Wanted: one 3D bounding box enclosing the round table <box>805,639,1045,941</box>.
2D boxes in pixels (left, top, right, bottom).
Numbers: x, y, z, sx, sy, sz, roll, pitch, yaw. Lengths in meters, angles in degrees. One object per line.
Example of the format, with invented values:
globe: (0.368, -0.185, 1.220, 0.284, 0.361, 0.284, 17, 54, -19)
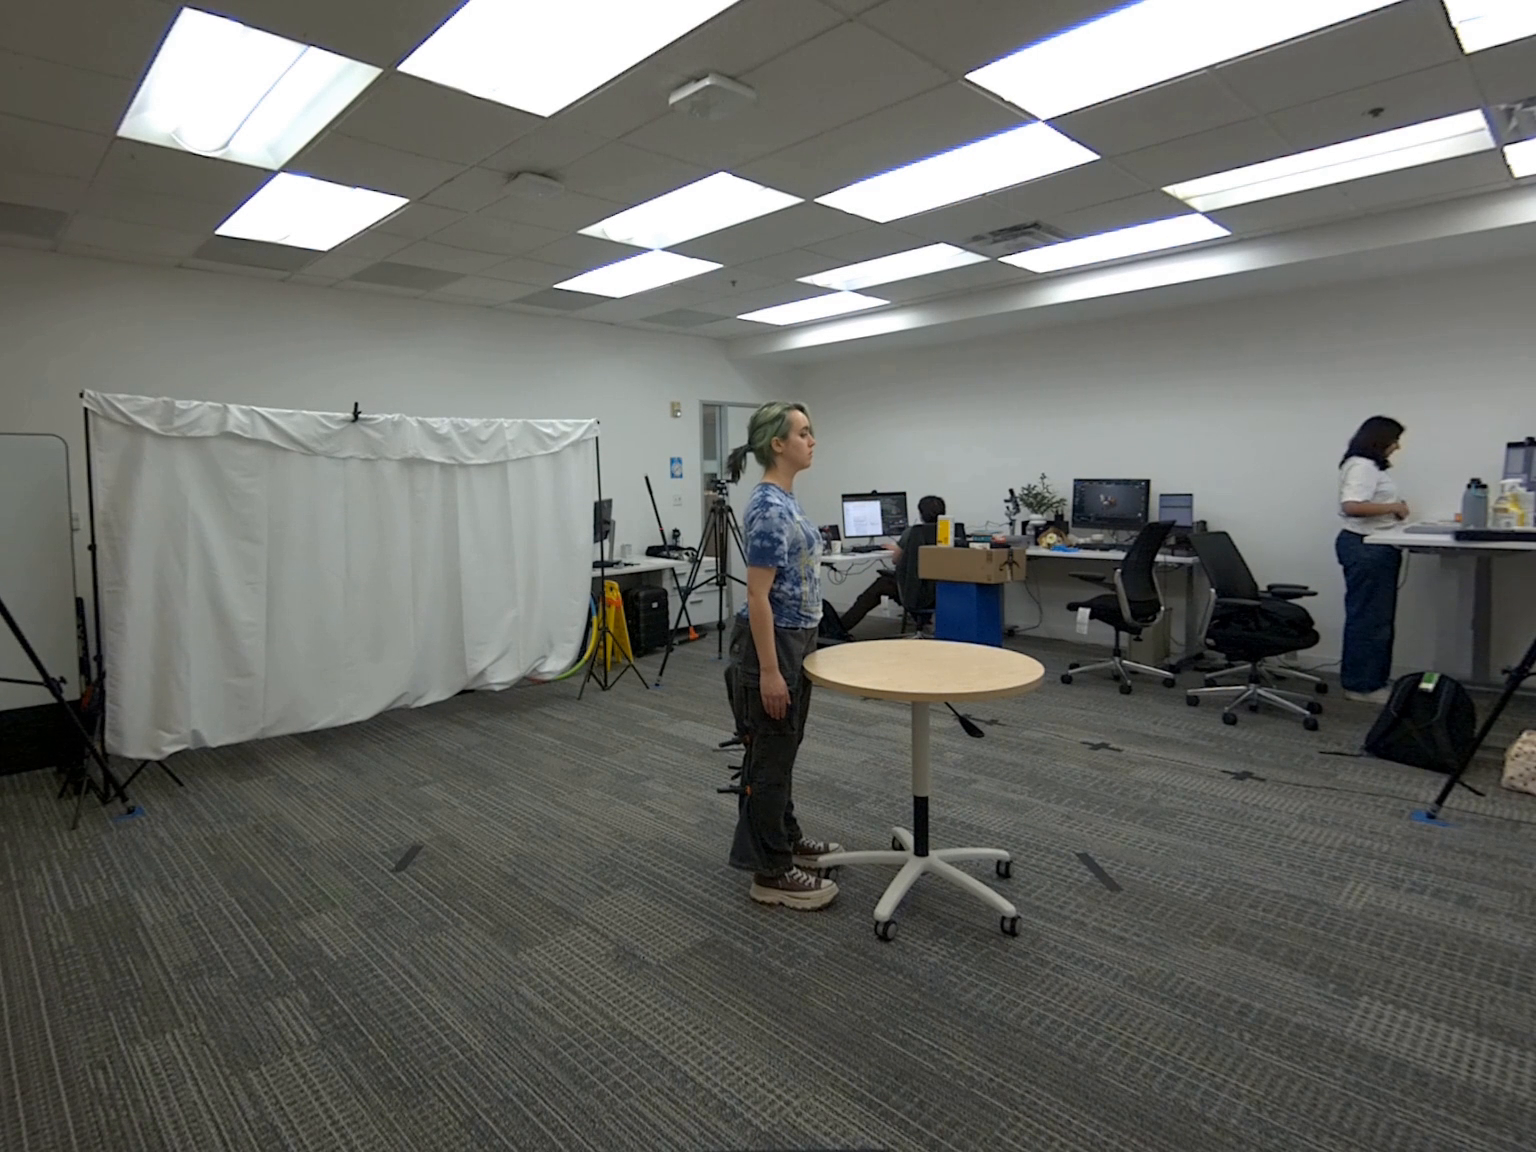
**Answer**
round table: (0.496, 0.674, 2.816, 0.784, 0.783, 0.789, -1, 5, -2)
